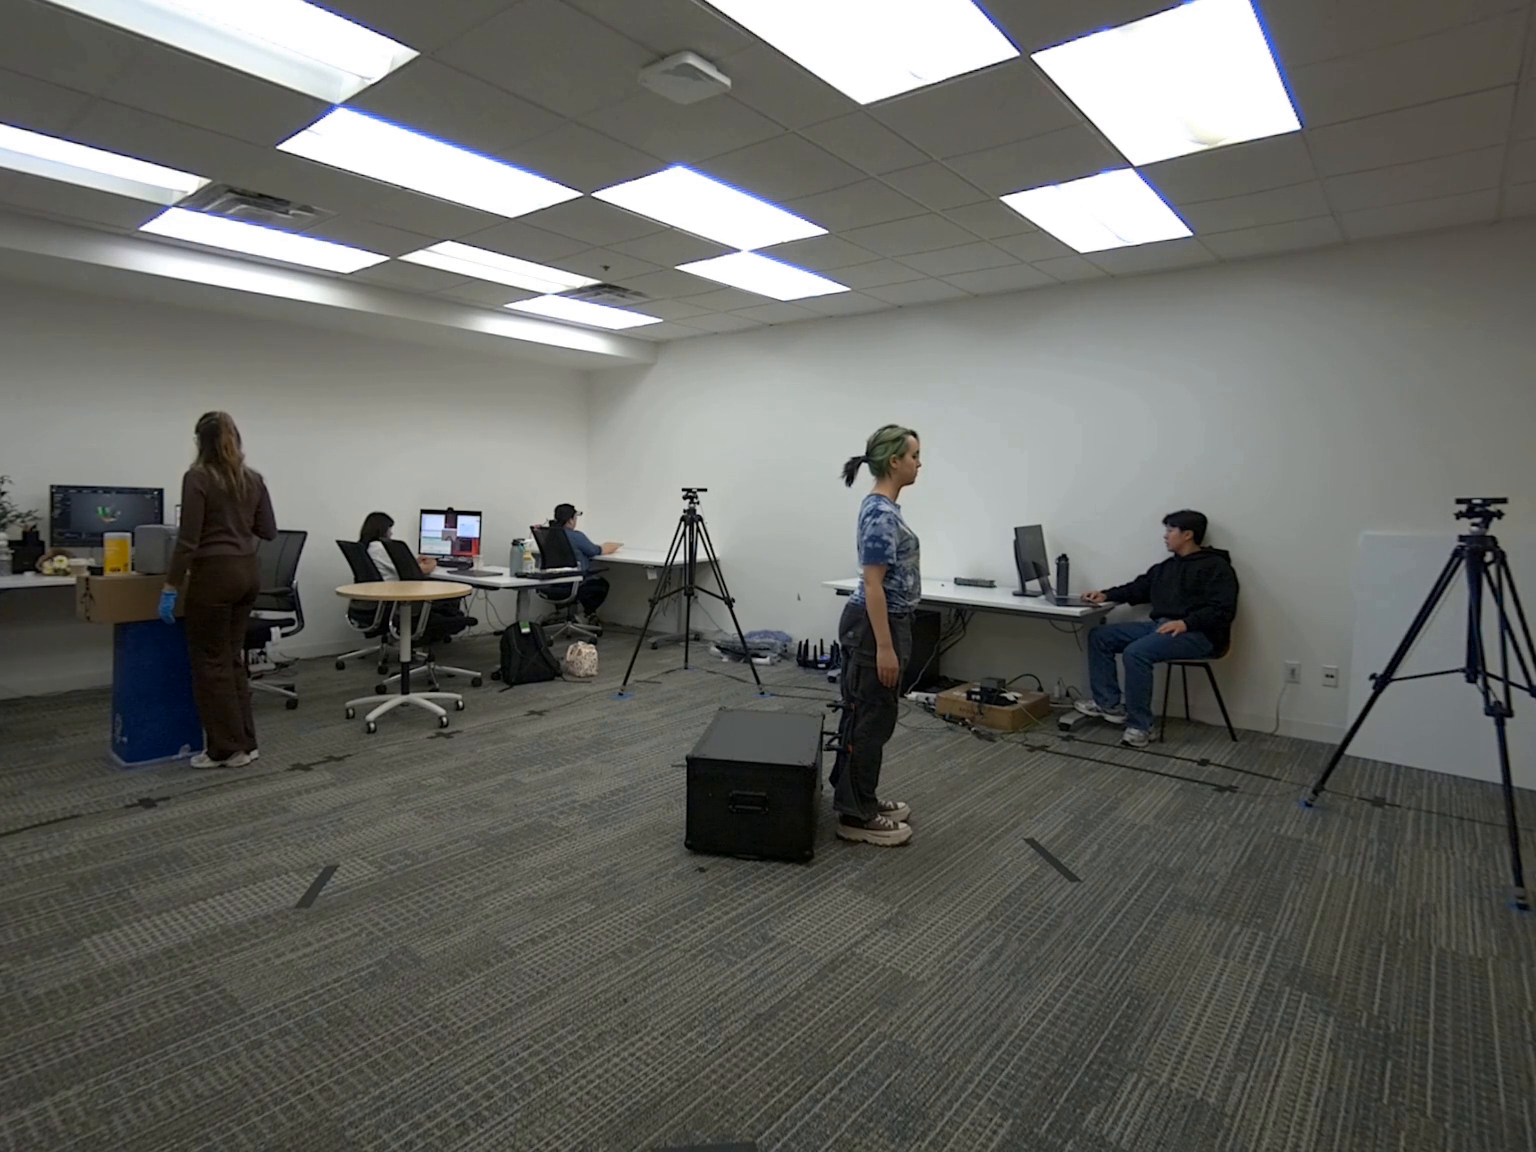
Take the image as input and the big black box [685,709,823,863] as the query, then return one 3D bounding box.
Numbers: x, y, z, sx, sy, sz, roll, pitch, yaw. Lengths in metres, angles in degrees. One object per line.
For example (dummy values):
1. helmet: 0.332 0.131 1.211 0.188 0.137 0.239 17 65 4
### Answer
1. big black box: -0.034 0.832 3.585 0.526 0.394 0.857 1 6 7
